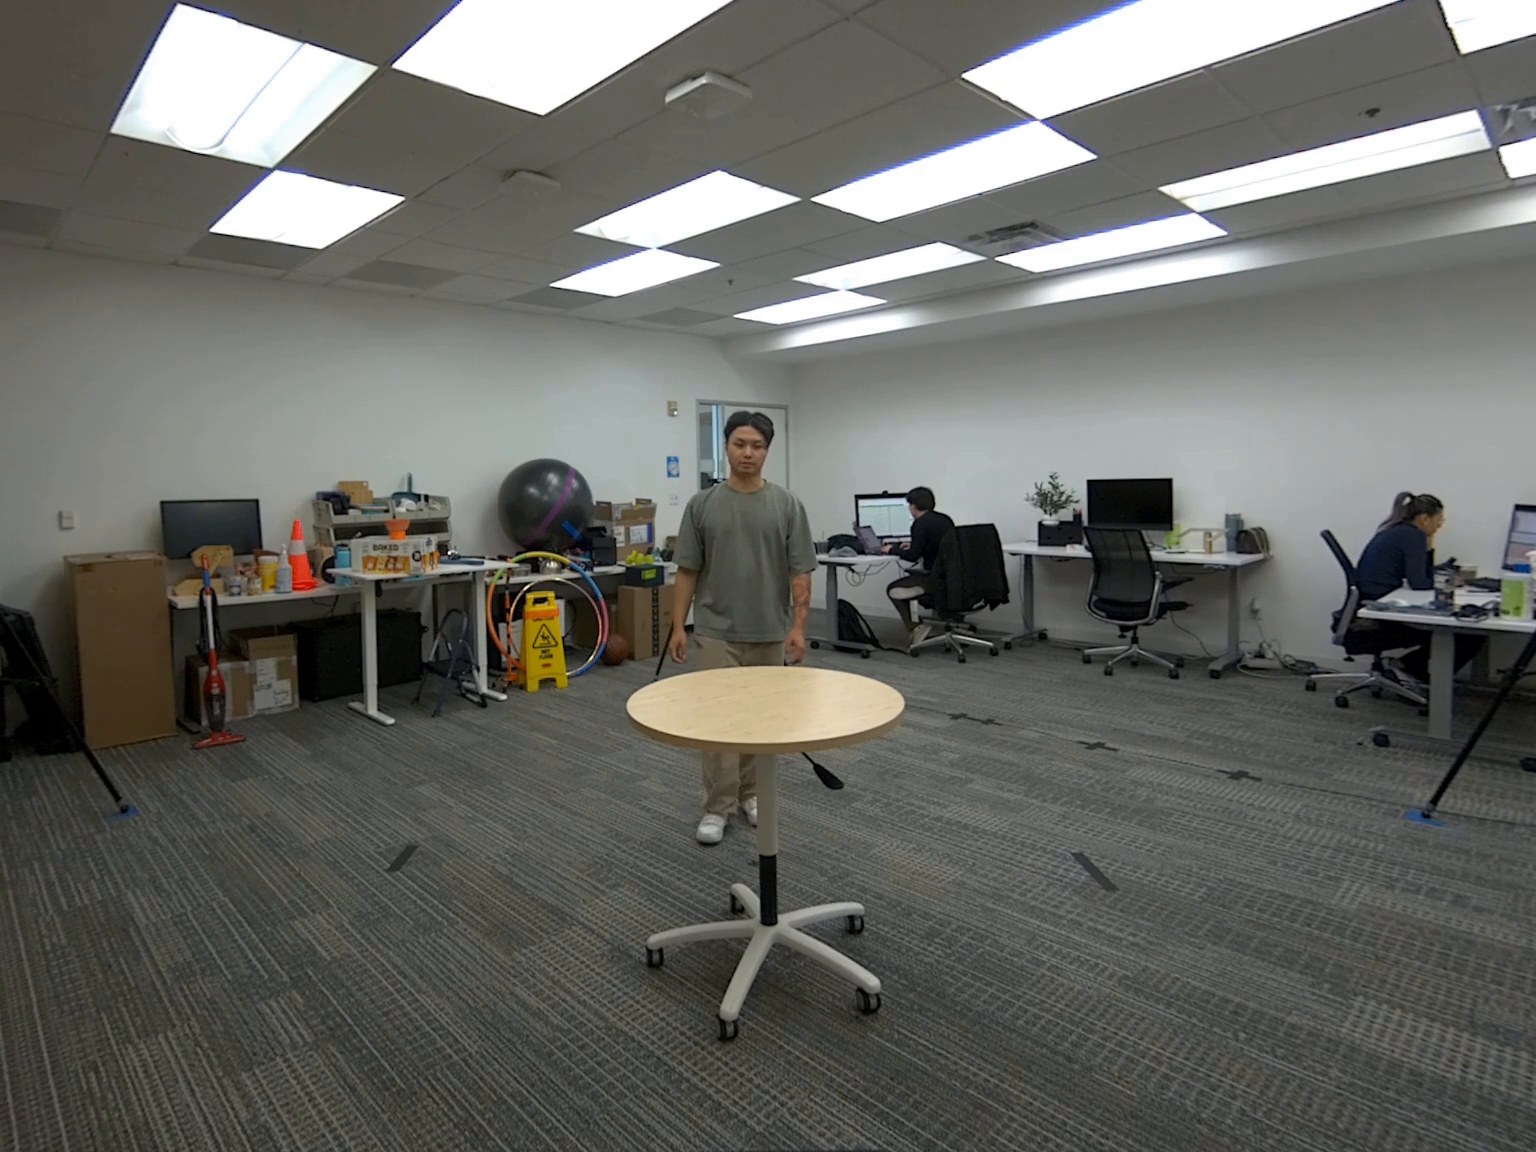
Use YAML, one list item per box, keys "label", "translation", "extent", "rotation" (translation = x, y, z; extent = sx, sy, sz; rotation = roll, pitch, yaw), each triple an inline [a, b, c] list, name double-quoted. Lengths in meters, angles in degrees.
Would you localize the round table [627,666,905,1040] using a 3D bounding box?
- label: "round table"
  translation: [-0.016, 0.735, 2.413]
  extent: [0.784, 0.783, 0.790]
  rotation: [-1, 6, -2]
